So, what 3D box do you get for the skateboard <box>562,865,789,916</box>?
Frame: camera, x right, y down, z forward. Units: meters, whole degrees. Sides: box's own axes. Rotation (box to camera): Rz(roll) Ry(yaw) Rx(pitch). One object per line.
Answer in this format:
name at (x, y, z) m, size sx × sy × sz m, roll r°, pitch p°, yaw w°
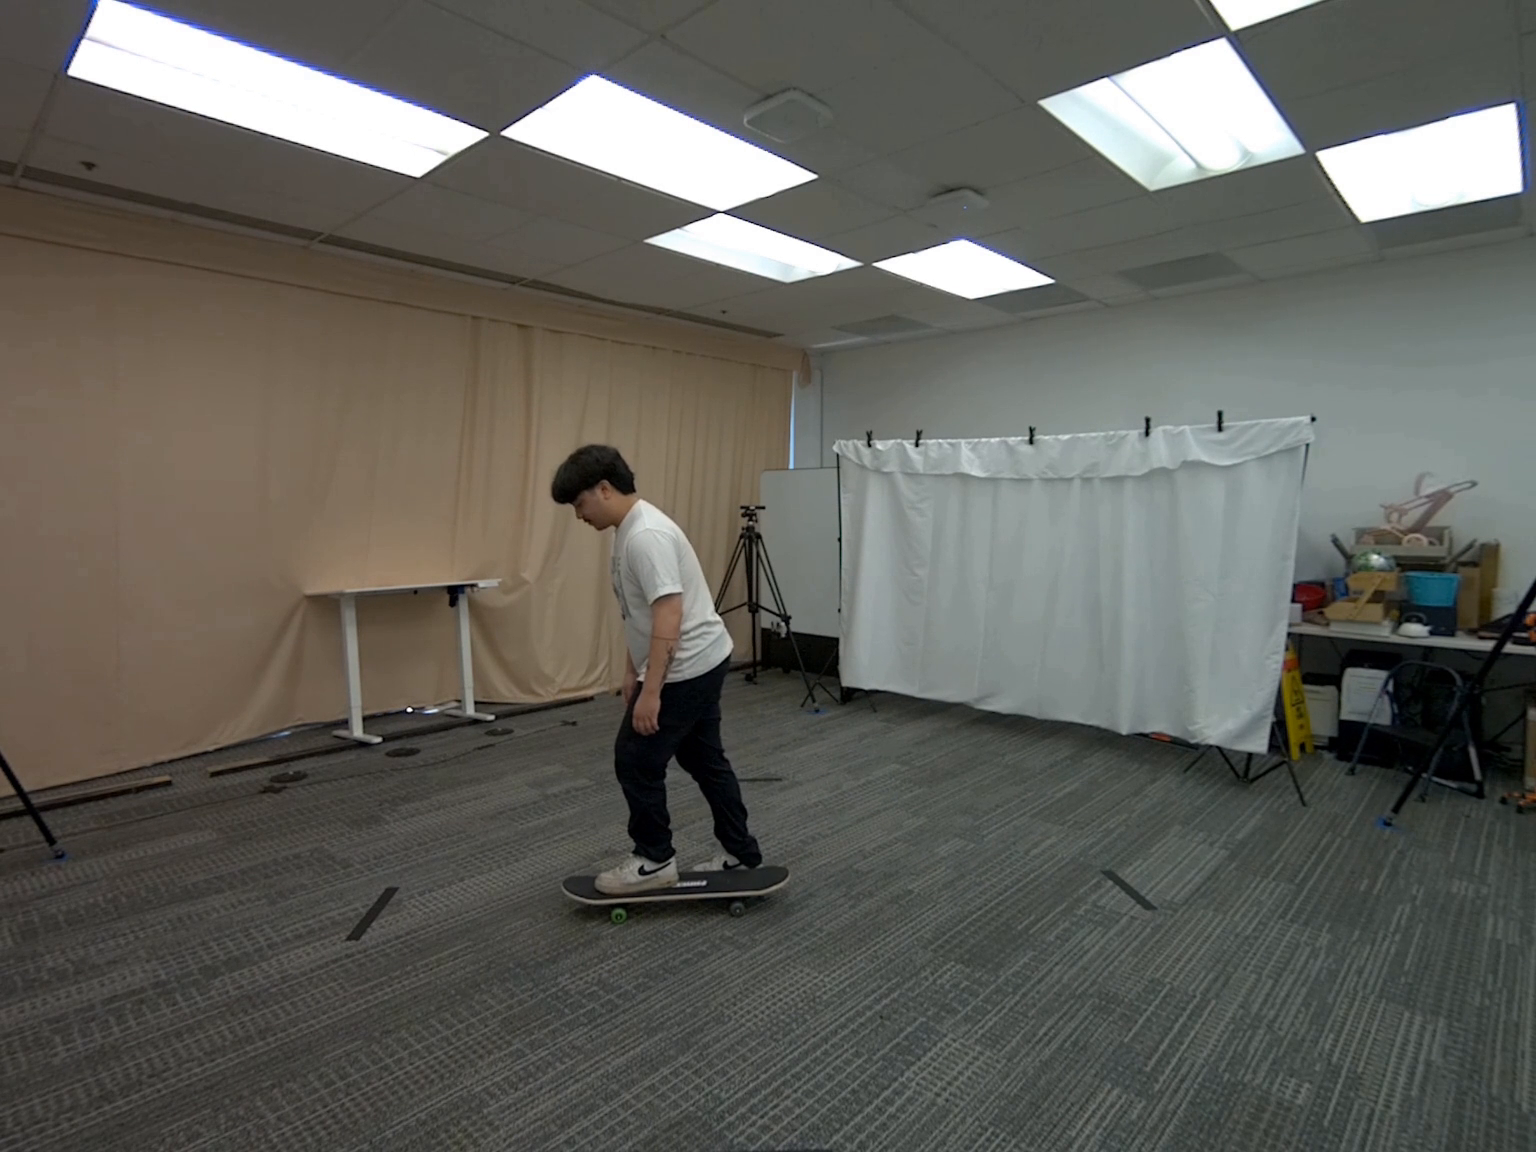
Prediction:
skateboard at (-0.297, 1.089, 2.917) m, size 0.781 × 0.110 × 0.195 m, roll 0°, pitch 5°, yaw -5°
